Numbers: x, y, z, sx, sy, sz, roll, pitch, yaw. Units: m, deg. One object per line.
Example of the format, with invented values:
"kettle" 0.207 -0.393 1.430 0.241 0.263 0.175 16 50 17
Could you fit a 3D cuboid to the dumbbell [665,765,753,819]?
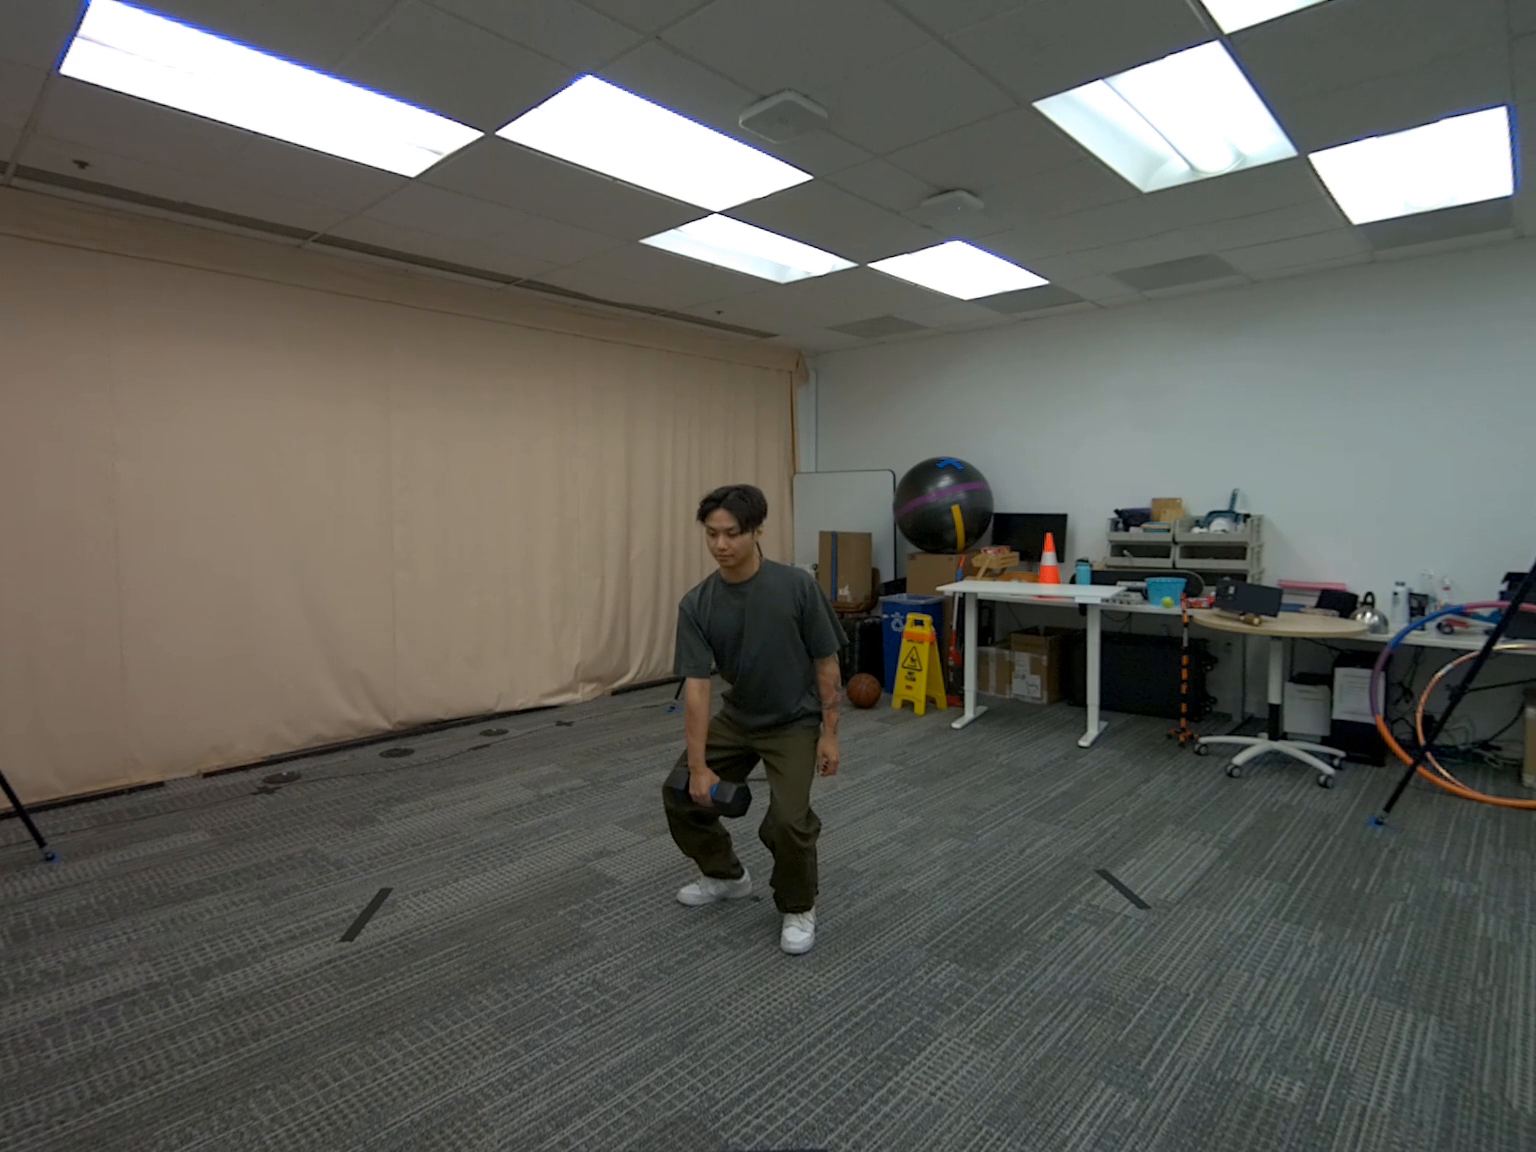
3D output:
"dumbbell" -0.184 0.696 2.718 0.303 0.121 0.107 0 26 43
